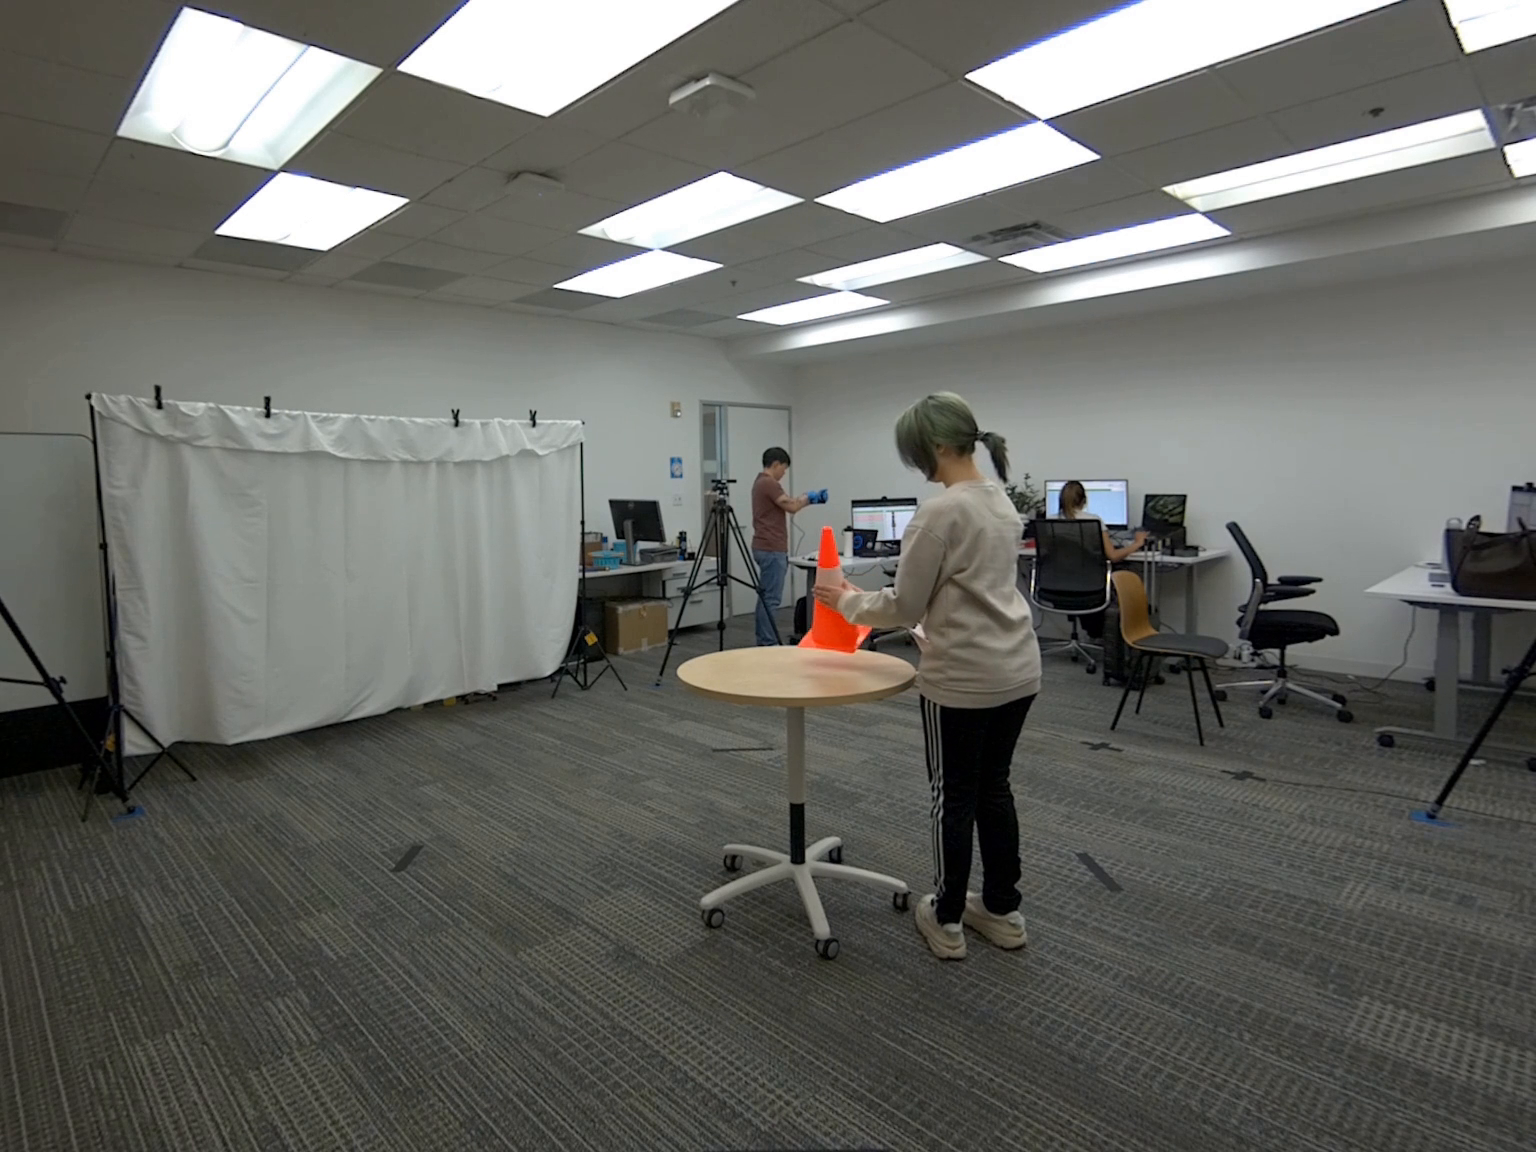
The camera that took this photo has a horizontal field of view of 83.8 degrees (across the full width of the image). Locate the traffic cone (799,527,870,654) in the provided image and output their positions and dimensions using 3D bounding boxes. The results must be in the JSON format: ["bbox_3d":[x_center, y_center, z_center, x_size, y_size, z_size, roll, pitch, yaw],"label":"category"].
[{"bbox_3d":[0.217,0.025,2.769,0.201,0.377,0.210,-22,26,-40],"label":"traffic cone"}]
